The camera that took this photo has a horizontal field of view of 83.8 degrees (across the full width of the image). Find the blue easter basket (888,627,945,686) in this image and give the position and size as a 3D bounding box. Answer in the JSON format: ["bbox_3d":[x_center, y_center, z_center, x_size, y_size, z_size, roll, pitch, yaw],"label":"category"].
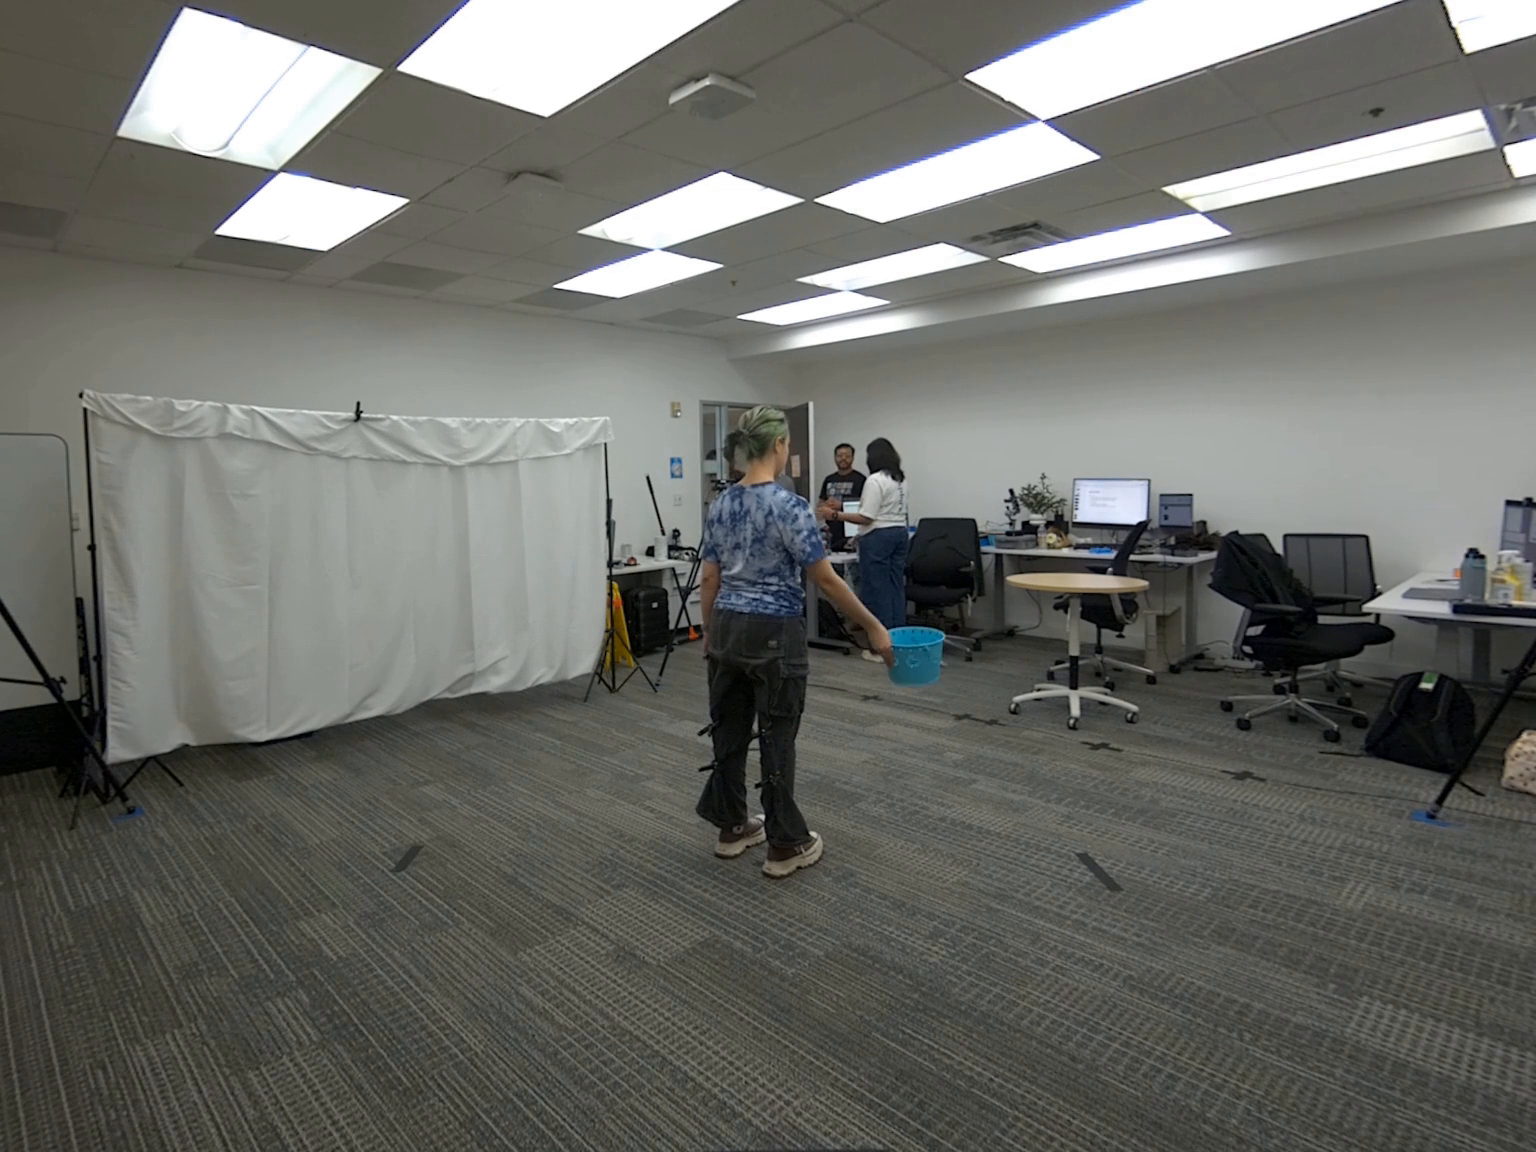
[{"bbox_3d":[0.519,0.284,3.072,0.243,0.154,0.246,-5,11,-1],"label":"blue easter basket"}]
